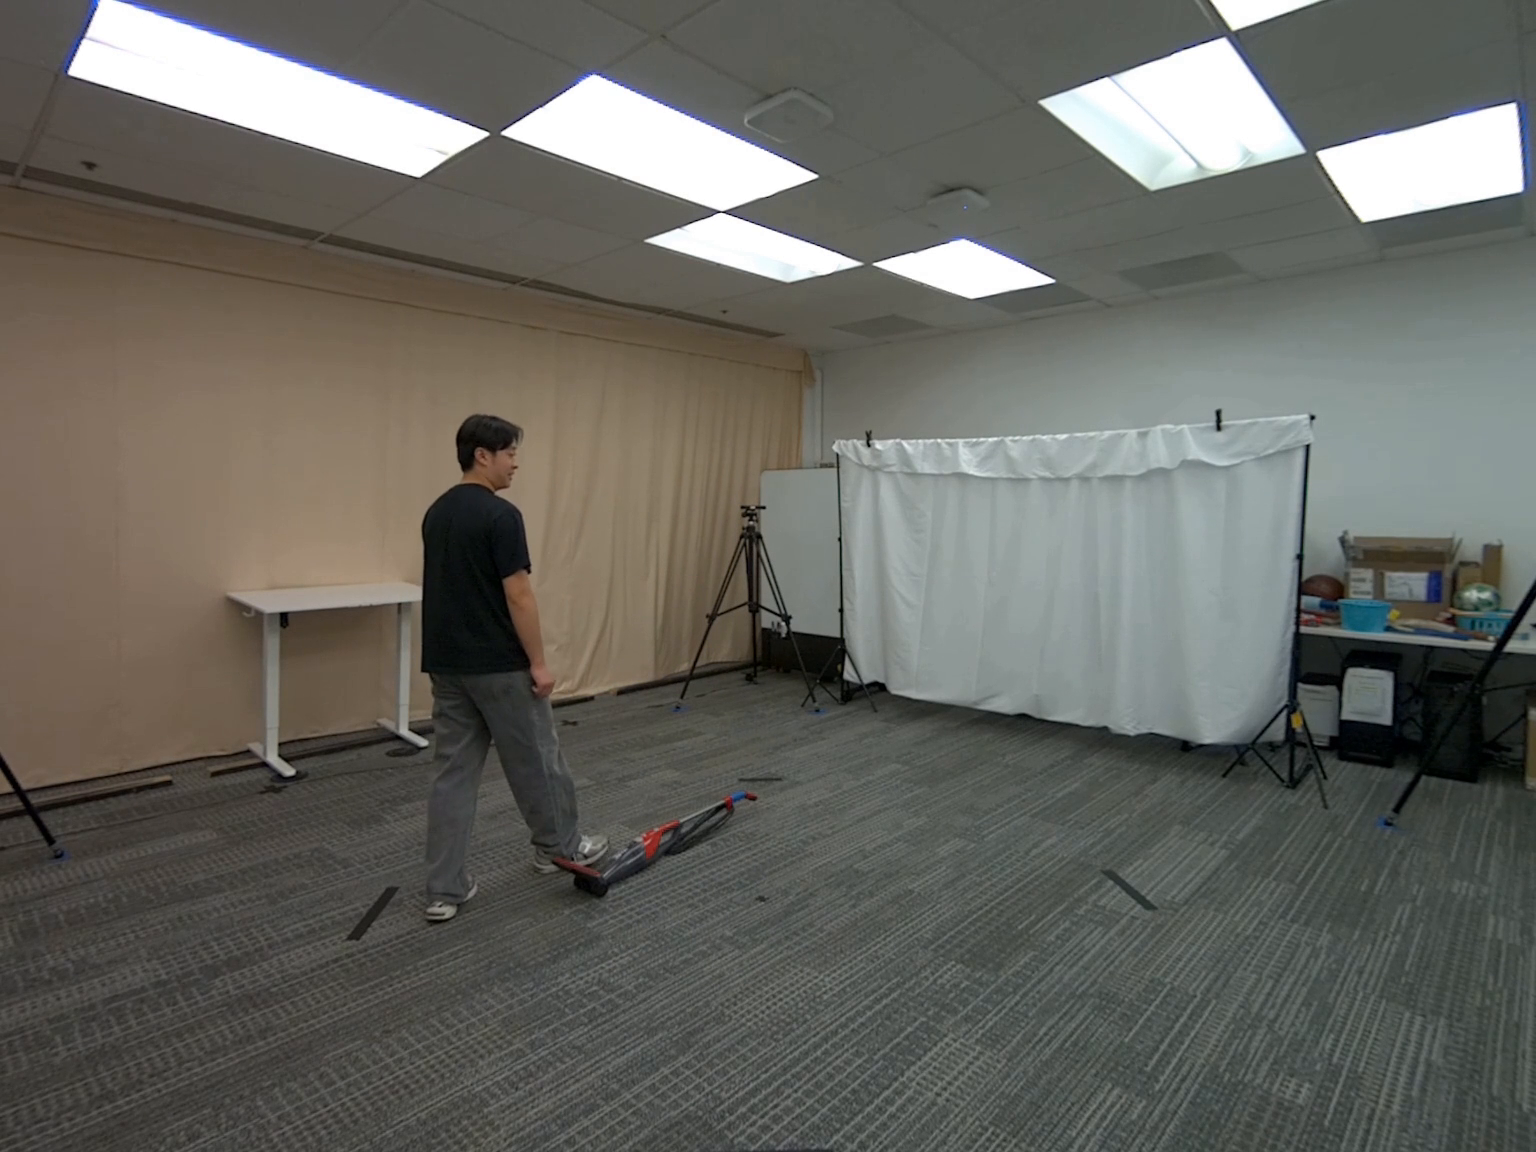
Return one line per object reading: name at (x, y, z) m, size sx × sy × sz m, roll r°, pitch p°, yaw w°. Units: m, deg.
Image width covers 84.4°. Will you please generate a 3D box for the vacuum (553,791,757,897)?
vacuum at (-0.359, 1.053, 3.423) m, size 0.261 × 0.143 × 1.019 m, roll 4°, pitch 6°, yaw 36°
